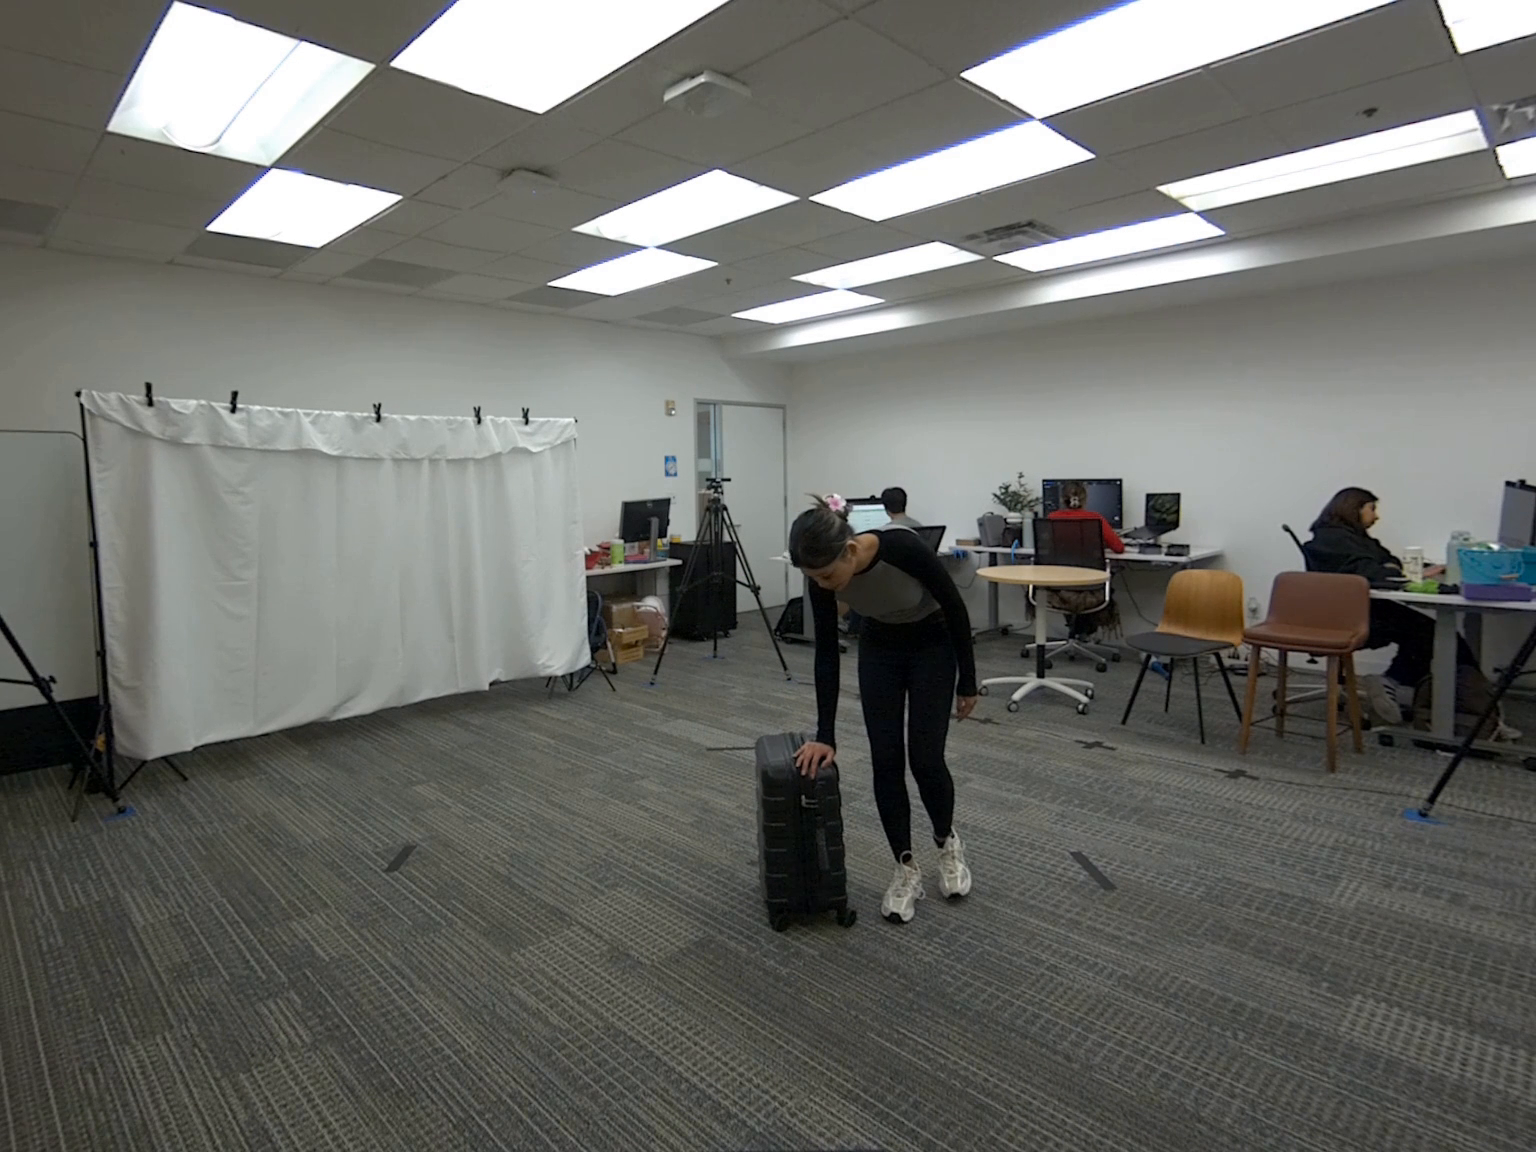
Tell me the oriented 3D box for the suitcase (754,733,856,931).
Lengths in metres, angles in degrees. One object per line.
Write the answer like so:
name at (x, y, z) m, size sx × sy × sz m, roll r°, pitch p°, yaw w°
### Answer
suitcase at (0.099, 0.804, 2.767) m, size 0.248 × 0.546 × 0.379 m, roll -4°, pitch 7°, yaw -4°
